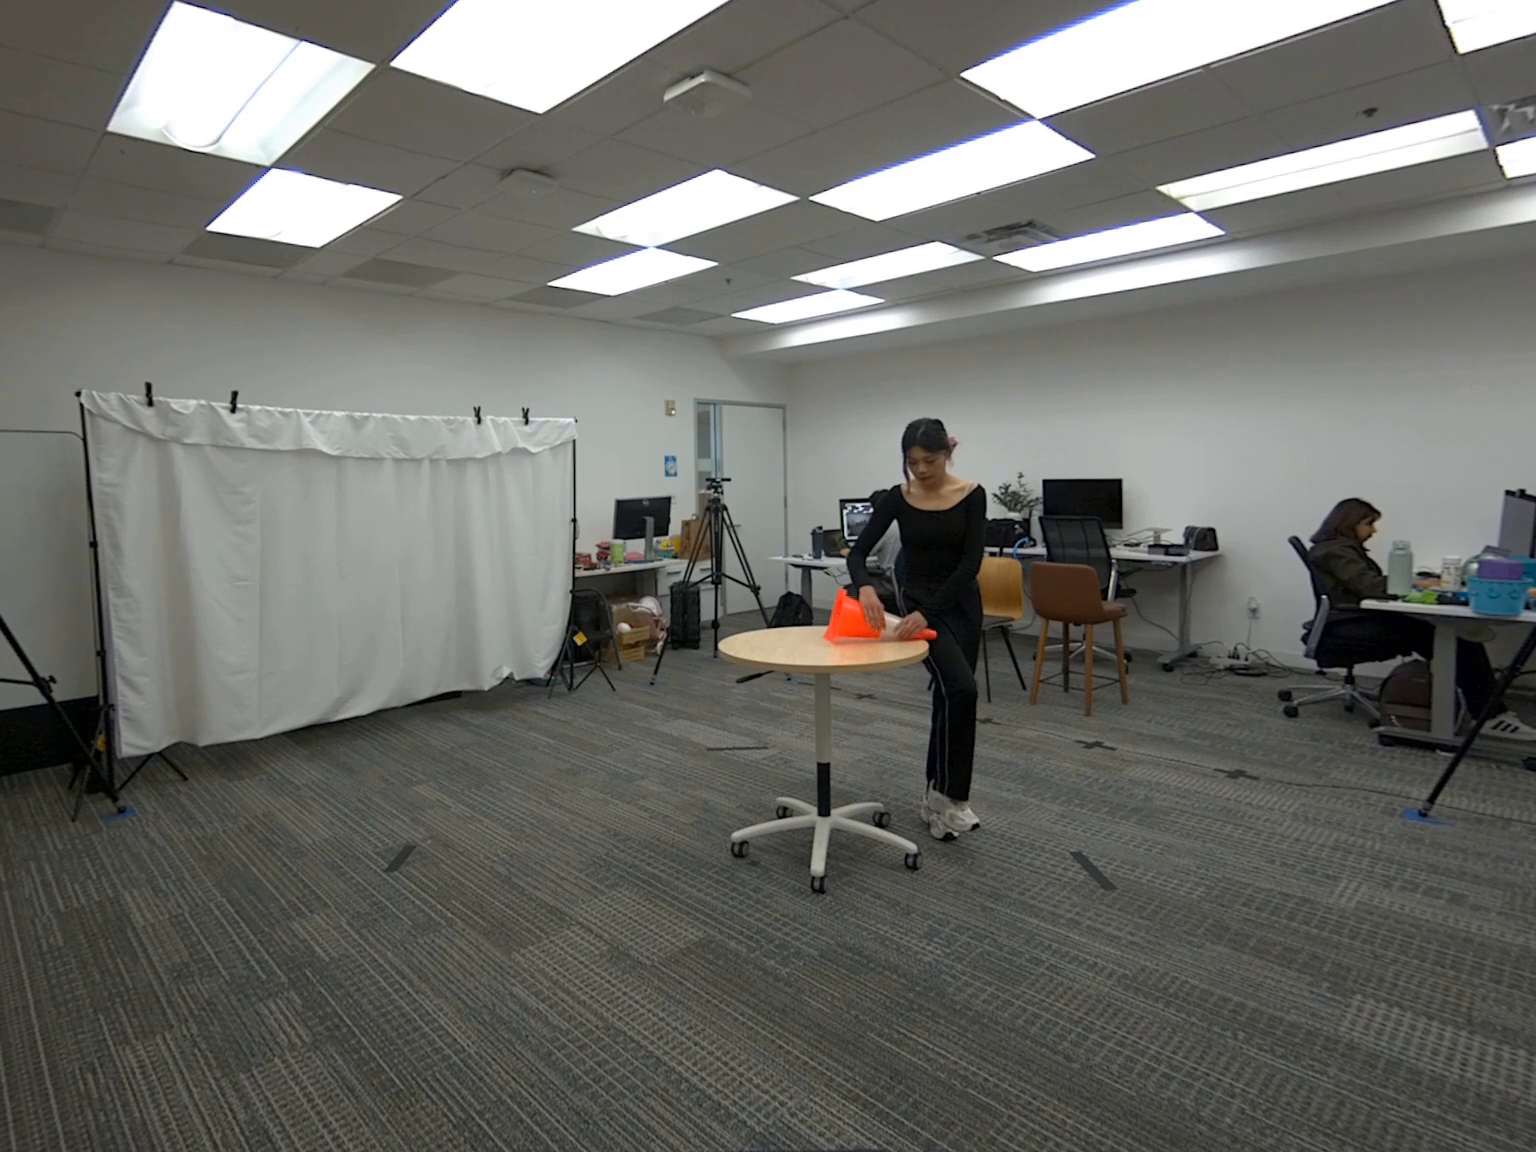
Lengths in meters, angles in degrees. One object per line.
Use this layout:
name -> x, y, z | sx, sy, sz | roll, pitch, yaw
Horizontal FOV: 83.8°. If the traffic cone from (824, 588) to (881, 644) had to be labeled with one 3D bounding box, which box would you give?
traffic cone -> 0.442, 0.172, 3.187 | 0.381, 0.203, 0.206 | 8, 10, -6
